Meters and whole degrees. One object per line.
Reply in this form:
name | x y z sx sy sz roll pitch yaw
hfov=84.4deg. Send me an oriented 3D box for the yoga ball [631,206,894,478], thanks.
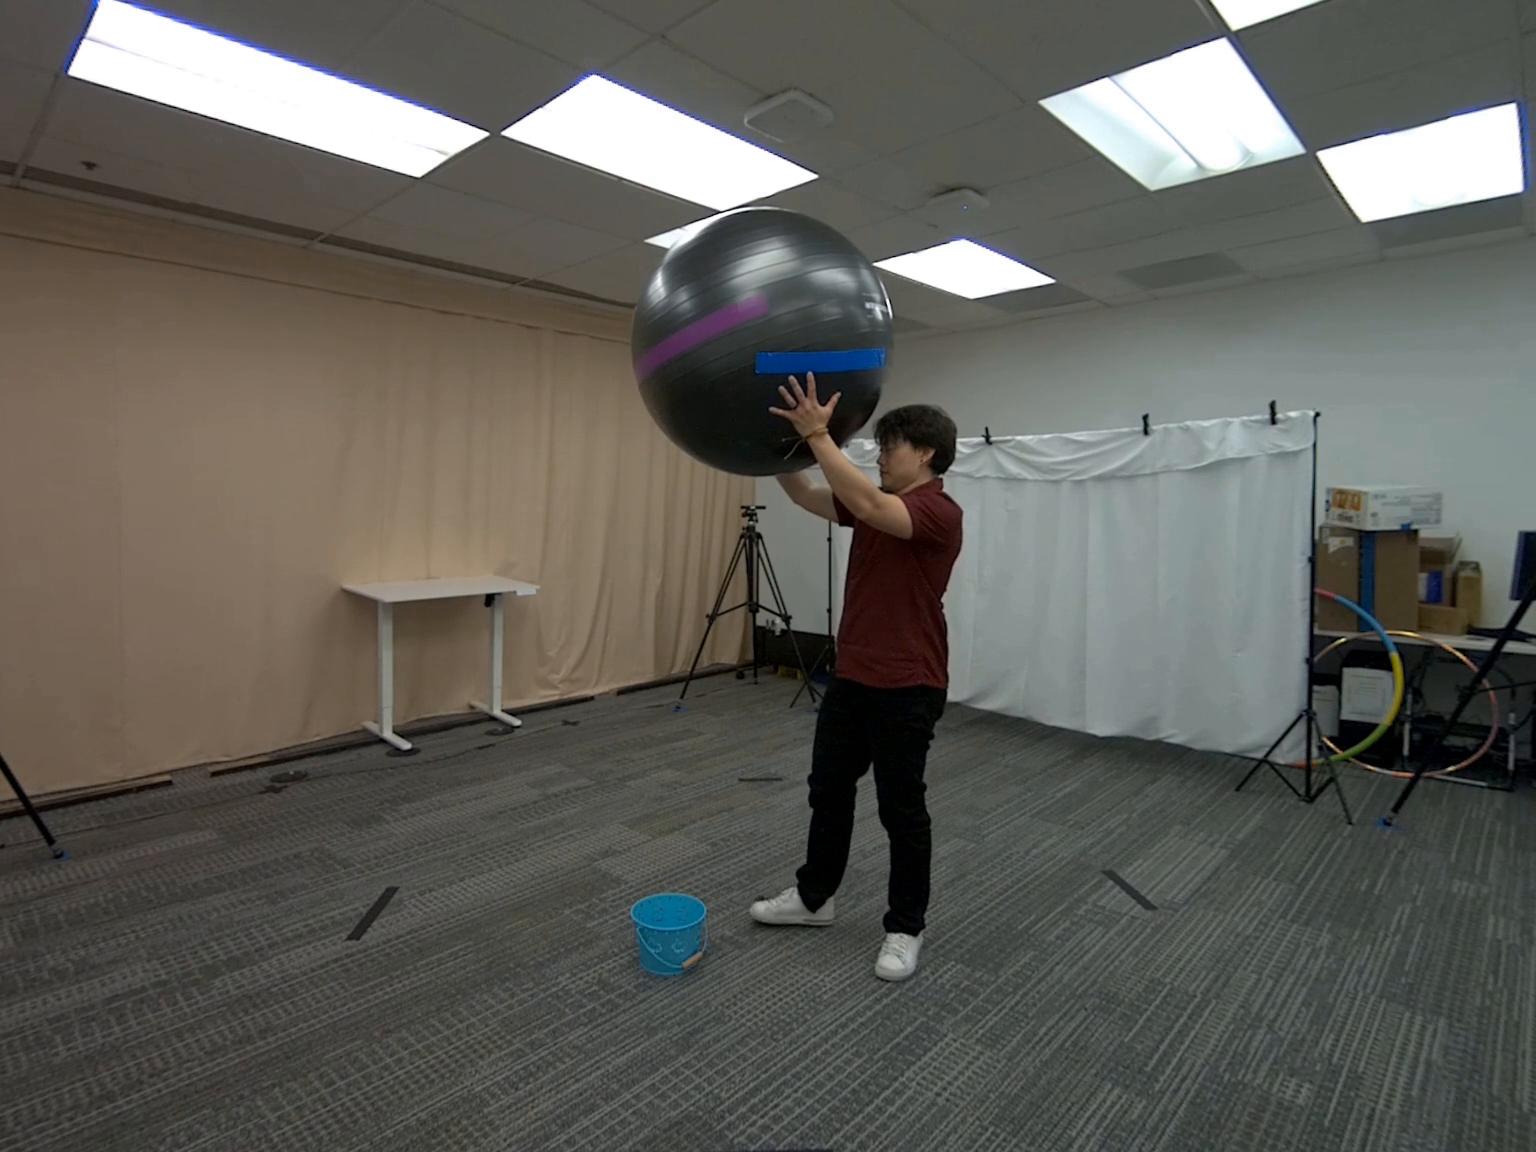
yoga ball | -0.021 -0.666 2.461 0.757 0.756 0.760 0 4 -2
